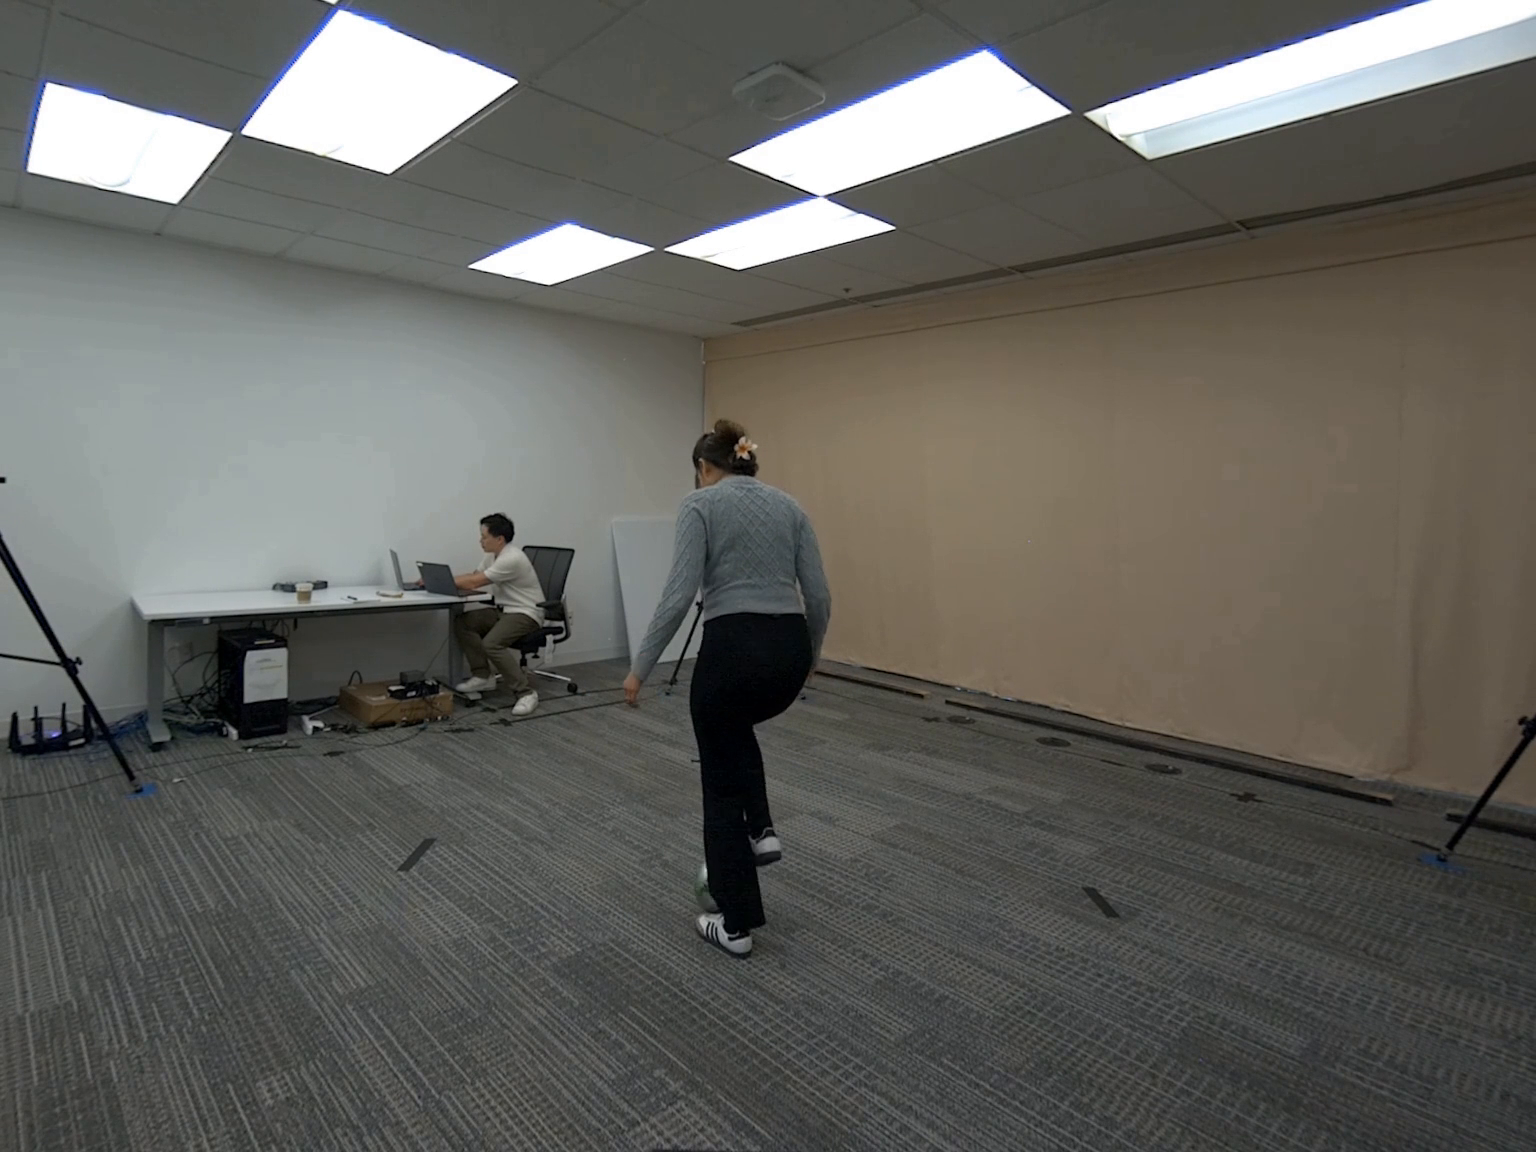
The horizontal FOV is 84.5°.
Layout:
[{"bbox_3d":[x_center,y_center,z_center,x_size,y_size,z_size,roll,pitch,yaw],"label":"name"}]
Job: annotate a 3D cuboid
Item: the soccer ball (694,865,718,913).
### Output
[{"bbox_3d":[-0.182,1.035,2.846,0.187,0.187,0.188,1,4,-1],"label":"soccer ball"}]
